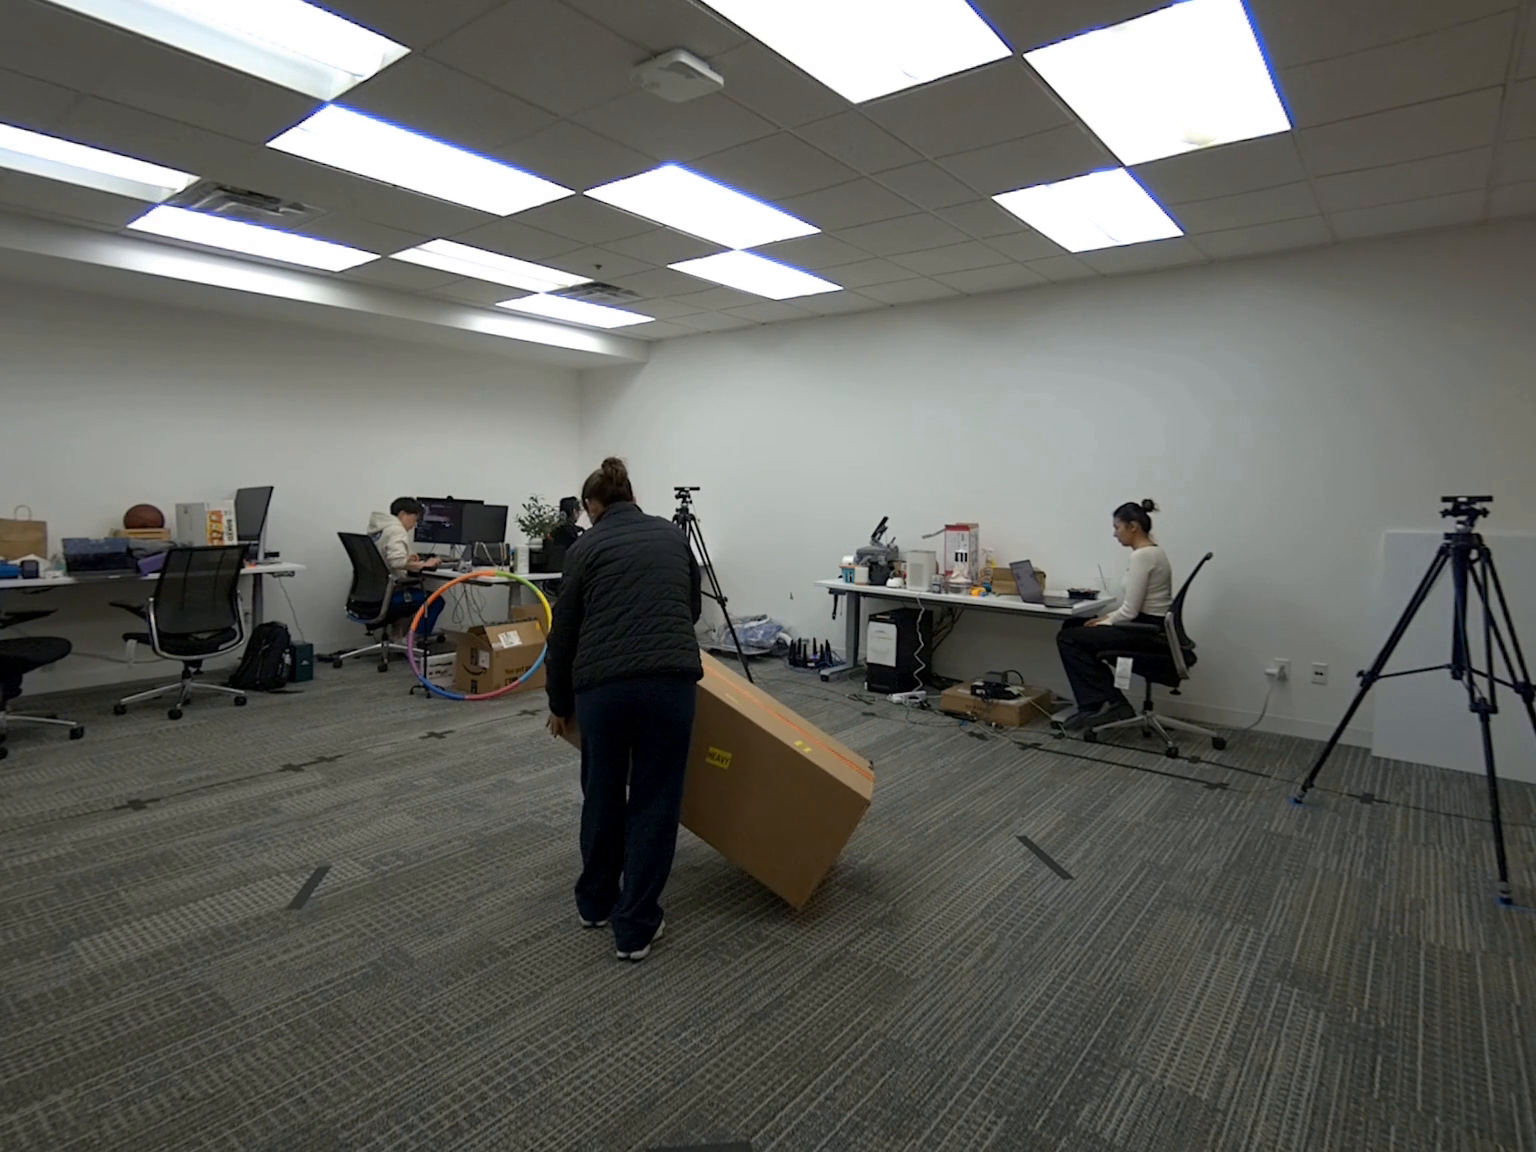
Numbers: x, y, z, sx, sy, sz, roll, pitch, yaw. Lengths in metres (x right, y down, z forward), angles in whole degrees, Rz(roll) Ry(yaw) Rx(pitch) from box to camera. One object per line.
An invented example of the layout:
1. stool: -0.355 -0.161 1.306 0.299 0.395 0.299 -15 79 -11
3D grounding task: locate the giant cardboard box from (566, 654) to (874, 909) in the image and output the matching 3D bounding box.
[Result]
1. giant cardboard box: -0.159 0.611 3.073 1.043 0.425 0.569 33 5 11
